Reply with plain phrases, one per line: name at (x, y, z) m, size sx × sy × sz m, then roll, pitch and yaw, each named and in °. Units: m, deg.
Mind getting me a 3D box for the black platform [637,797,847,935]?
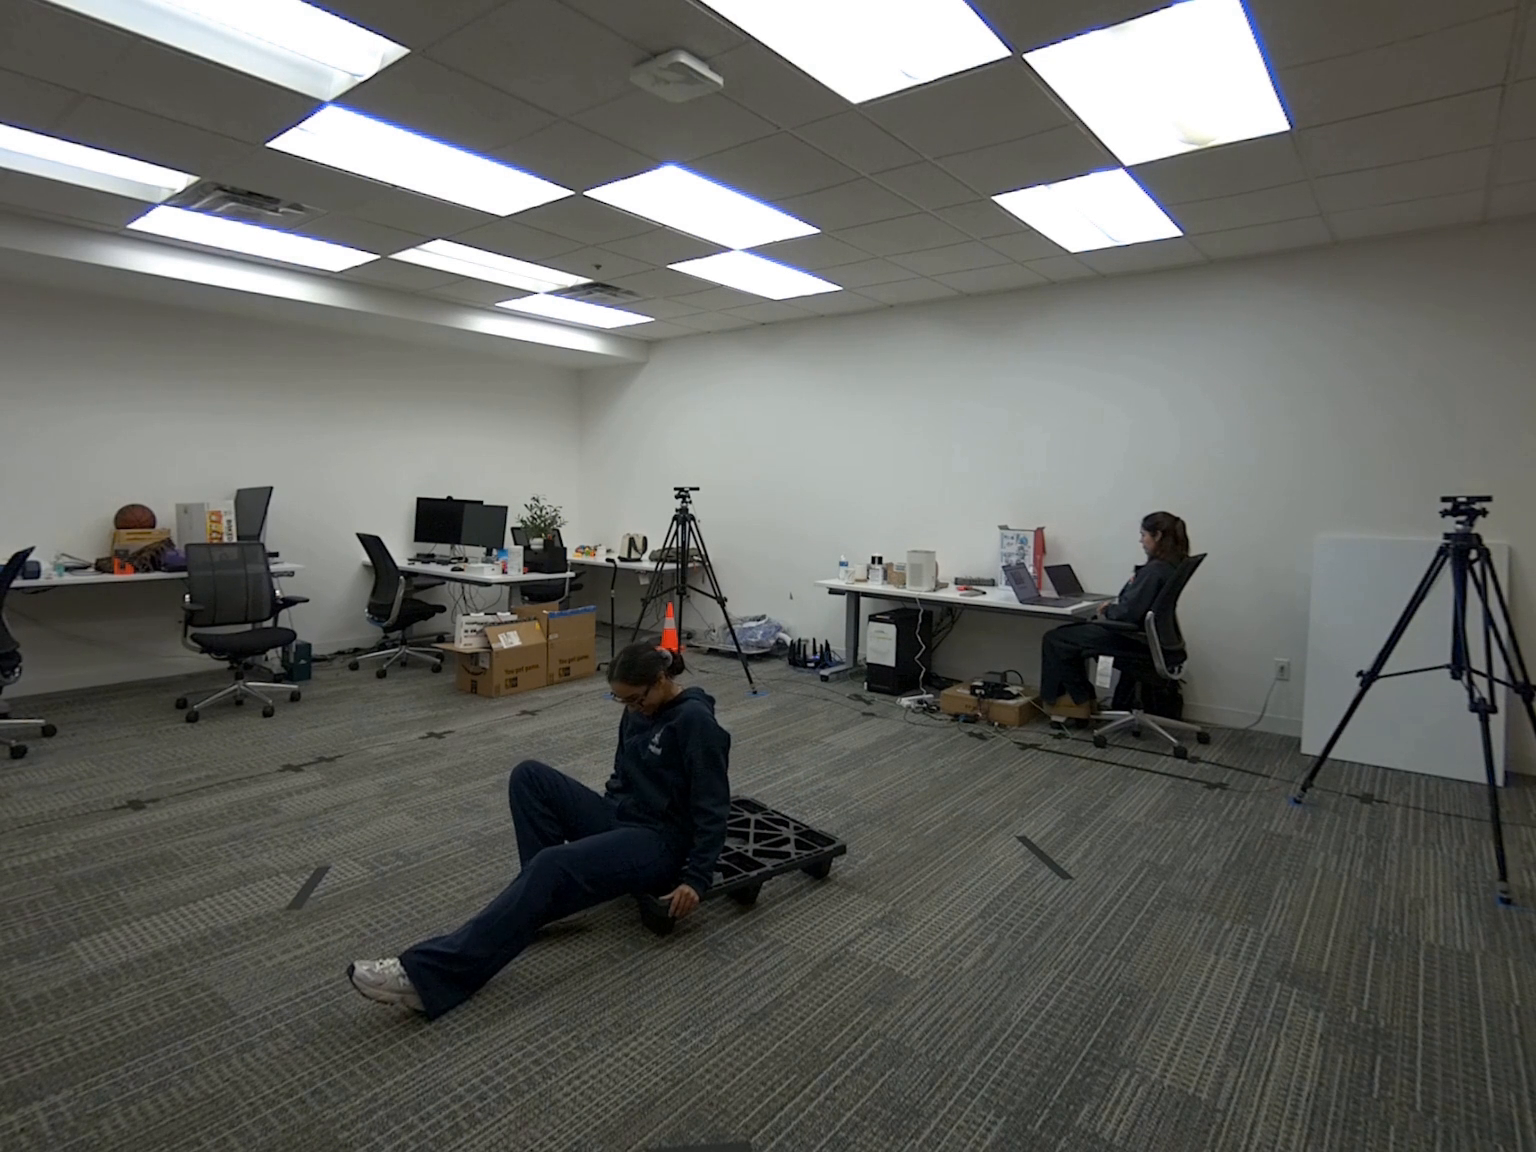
black platform at (-0.212, 1.010, 3.032) m, size 0.782 × 0.142 × 0.626 m, roll -4°, pitch 8°, yaw -38°
